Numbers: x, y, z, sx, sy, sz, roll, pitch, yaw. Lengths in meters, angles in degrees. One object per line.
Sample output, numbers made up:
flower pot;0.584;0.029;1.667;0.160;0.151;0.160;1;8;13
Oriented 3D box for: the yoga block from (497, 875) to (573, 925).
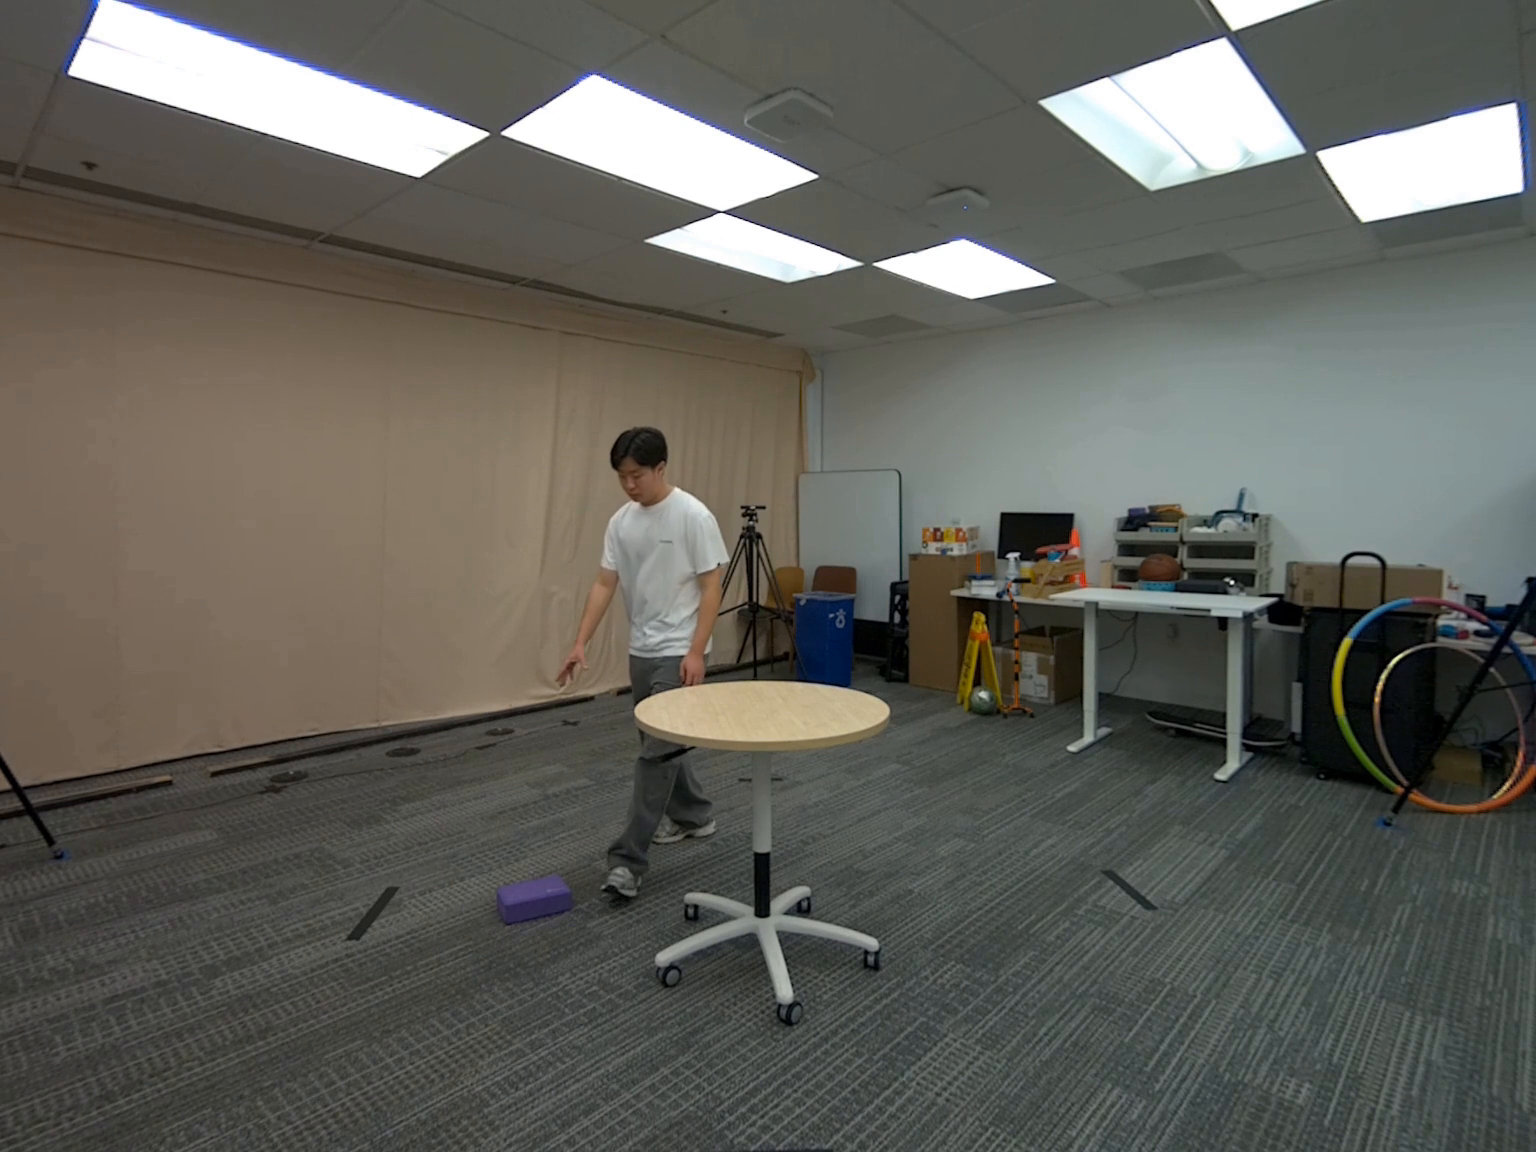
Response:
yoga block;-0.805;1.122;2.911;0.223;0.076;0.153;-3;5;-29
